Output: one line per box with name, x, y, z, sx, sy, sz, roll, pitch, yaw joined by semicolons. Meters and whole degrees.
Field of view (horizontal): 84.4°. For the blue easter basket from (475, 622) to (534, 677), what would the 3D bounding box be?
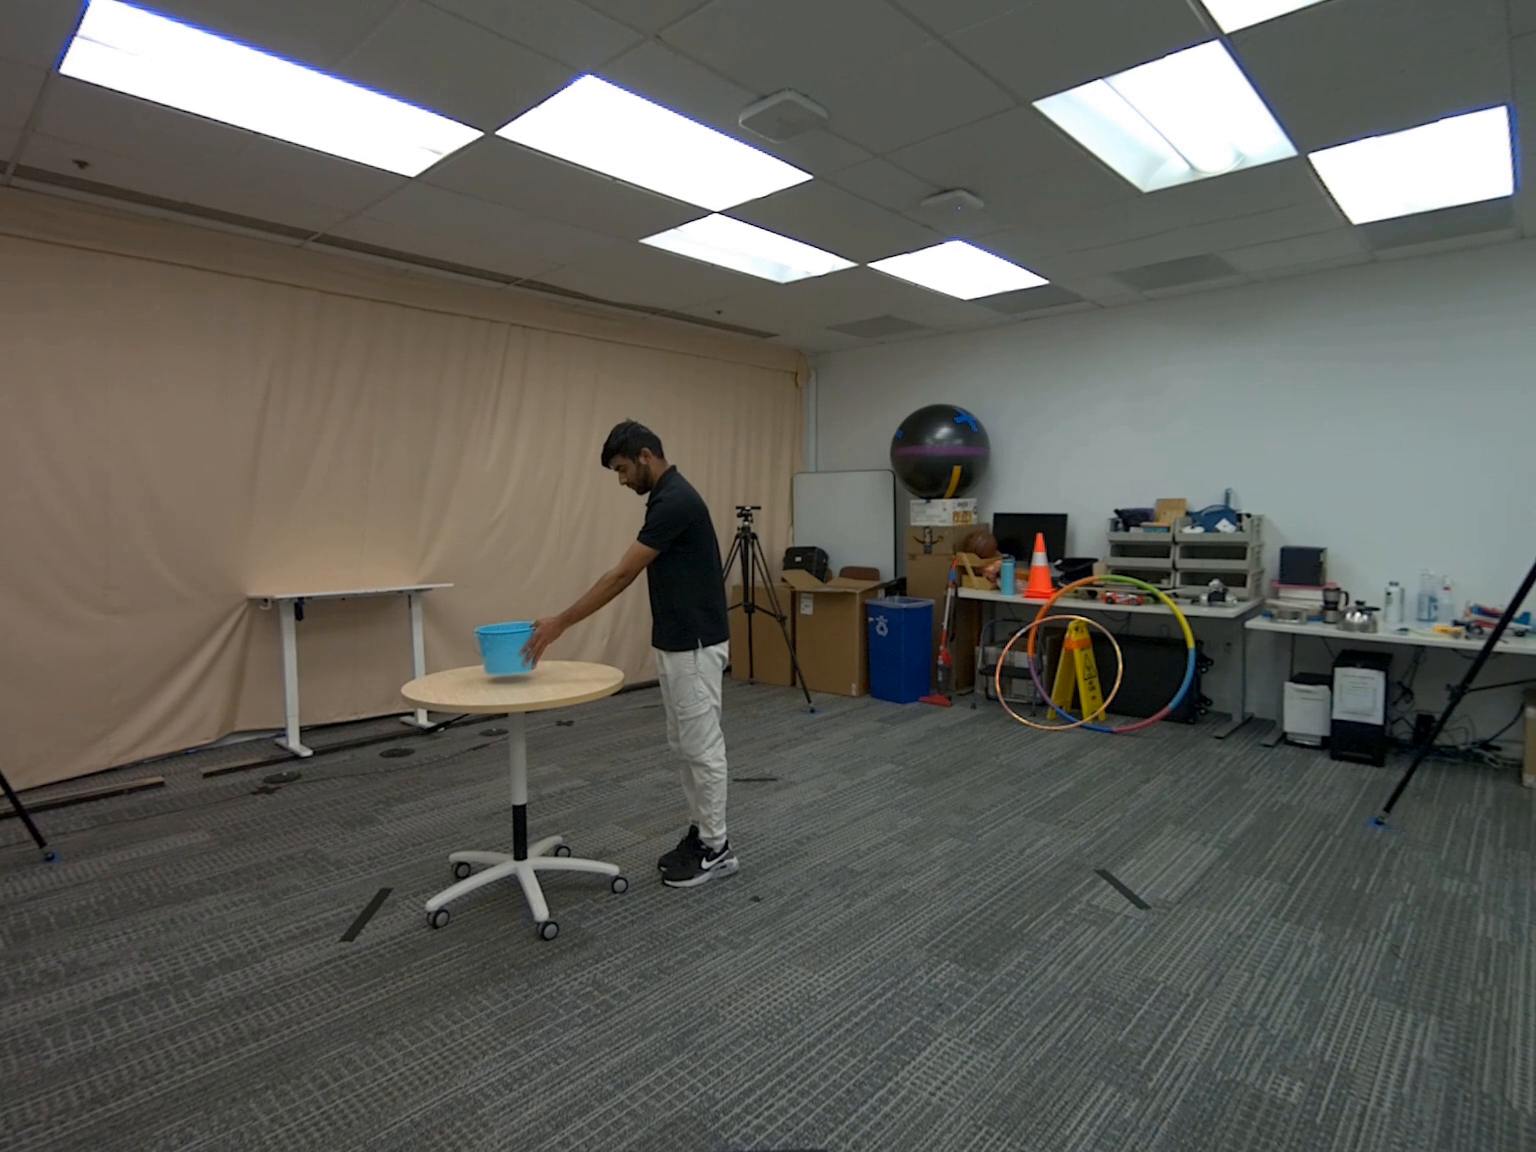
blue easter basket;-0.919;0.258;2.991;0.243;0.155;0.244;-2;5;-2
